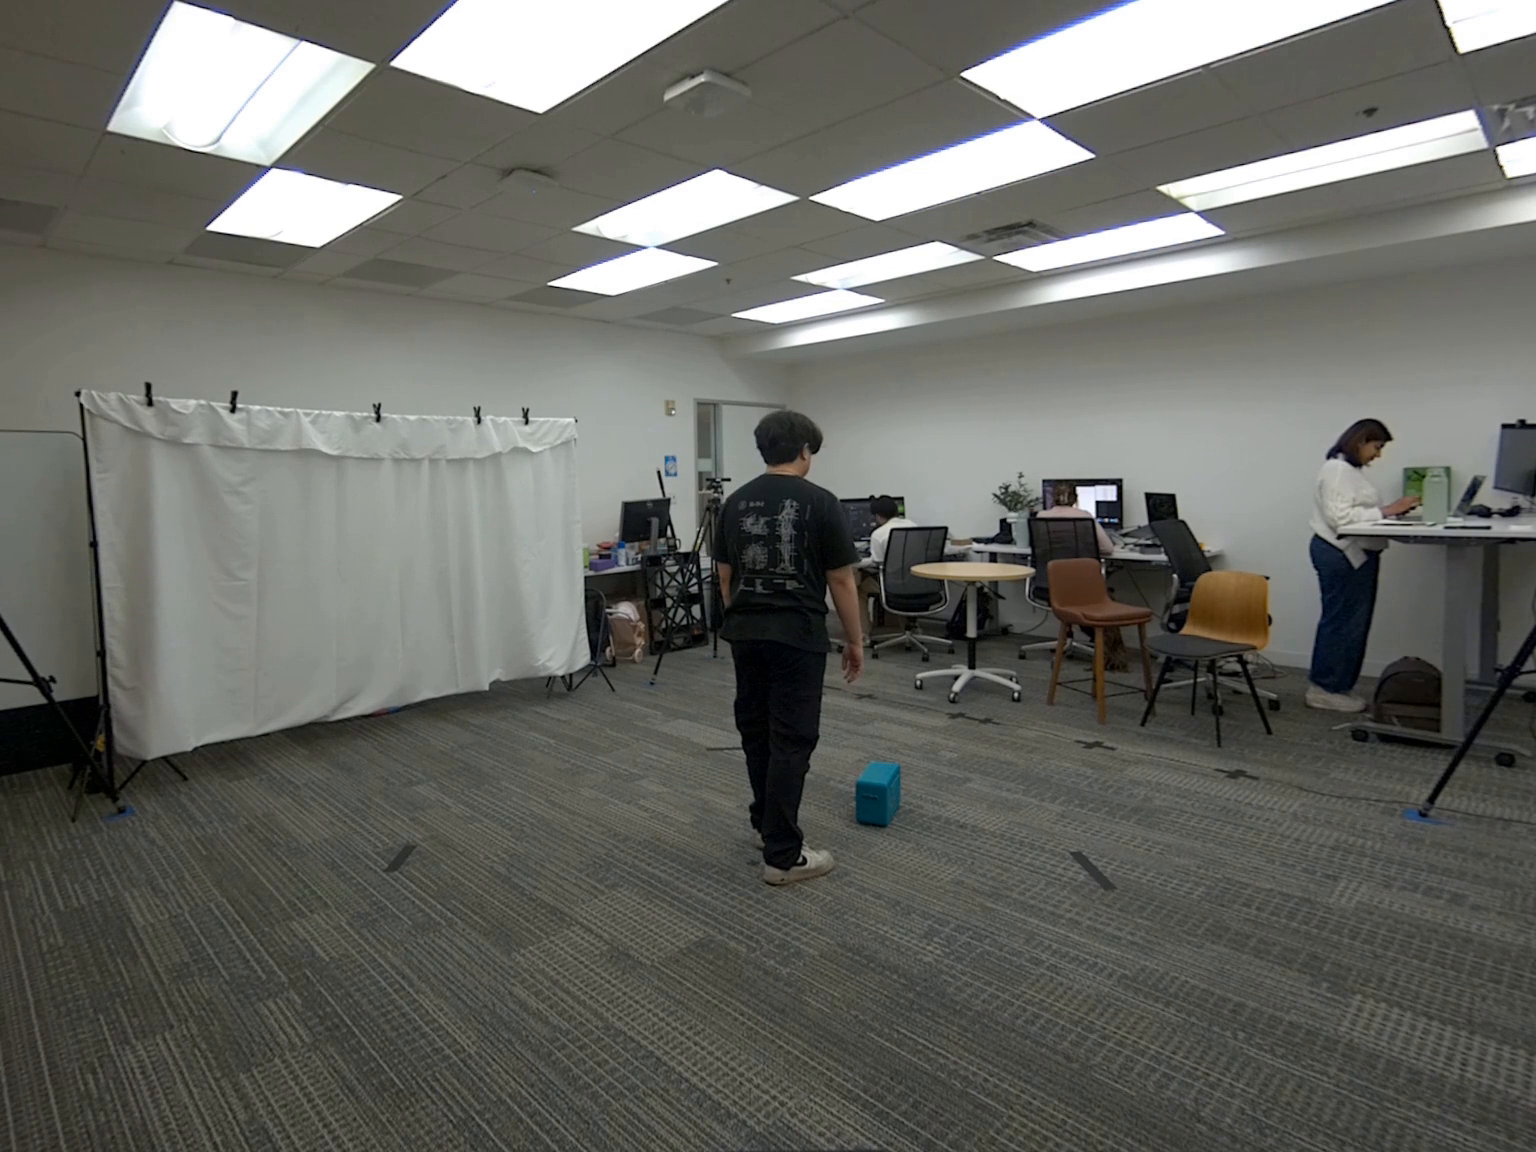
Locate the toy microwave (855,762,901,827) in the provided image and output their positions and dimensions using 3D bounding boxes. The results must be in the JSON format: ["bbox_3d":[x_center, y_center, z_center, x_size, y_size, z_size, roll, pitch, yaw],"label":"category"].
[{"bbox_3d":[0.451,0.893,3.531,0.155,0.183,0.281,1,5,22],"label":"toy microwave"}]
